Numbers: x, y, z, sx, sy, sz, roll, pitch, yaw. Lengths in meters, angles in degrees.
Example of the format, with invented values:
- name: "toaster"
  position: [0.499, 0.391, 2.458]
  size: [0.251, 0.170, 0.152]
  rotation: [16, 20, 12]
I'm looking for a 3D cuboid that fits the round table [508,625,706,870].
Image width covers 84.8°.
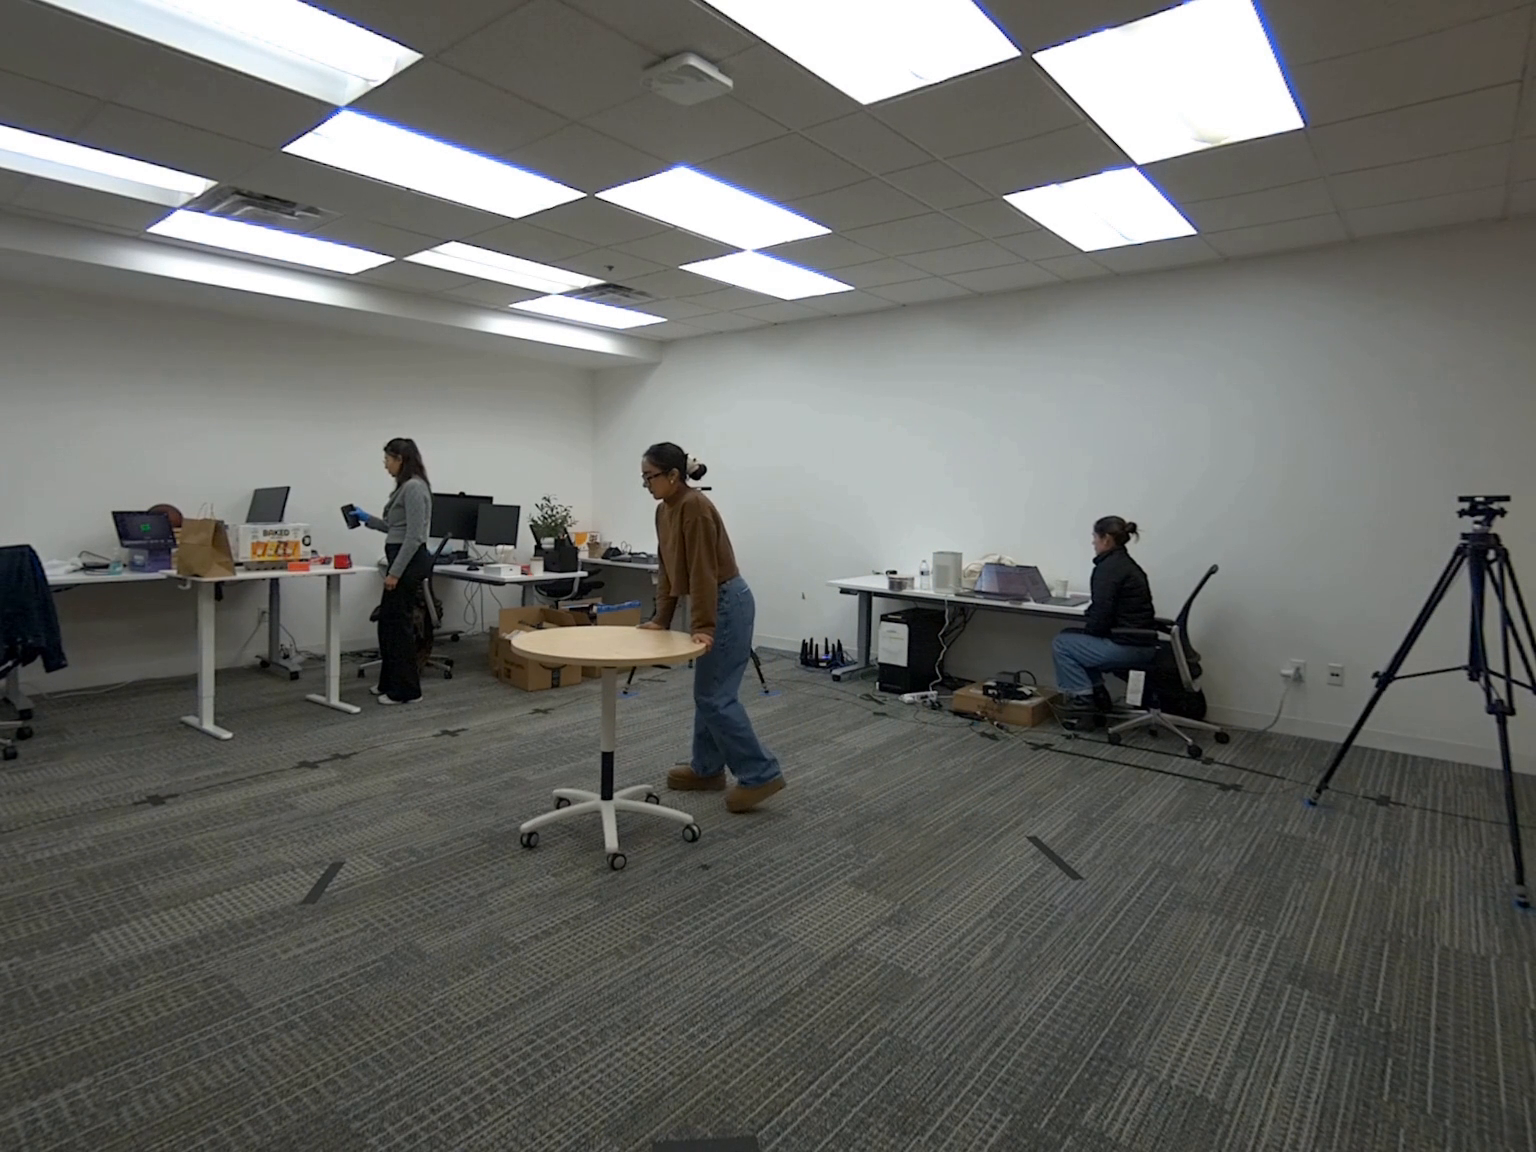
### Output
- name: "round table"
  position: [-0.650, 0.644, 3.398]
  size: [0.763, 0.792, 0.767]
  rotation: [1, 4, -2]
